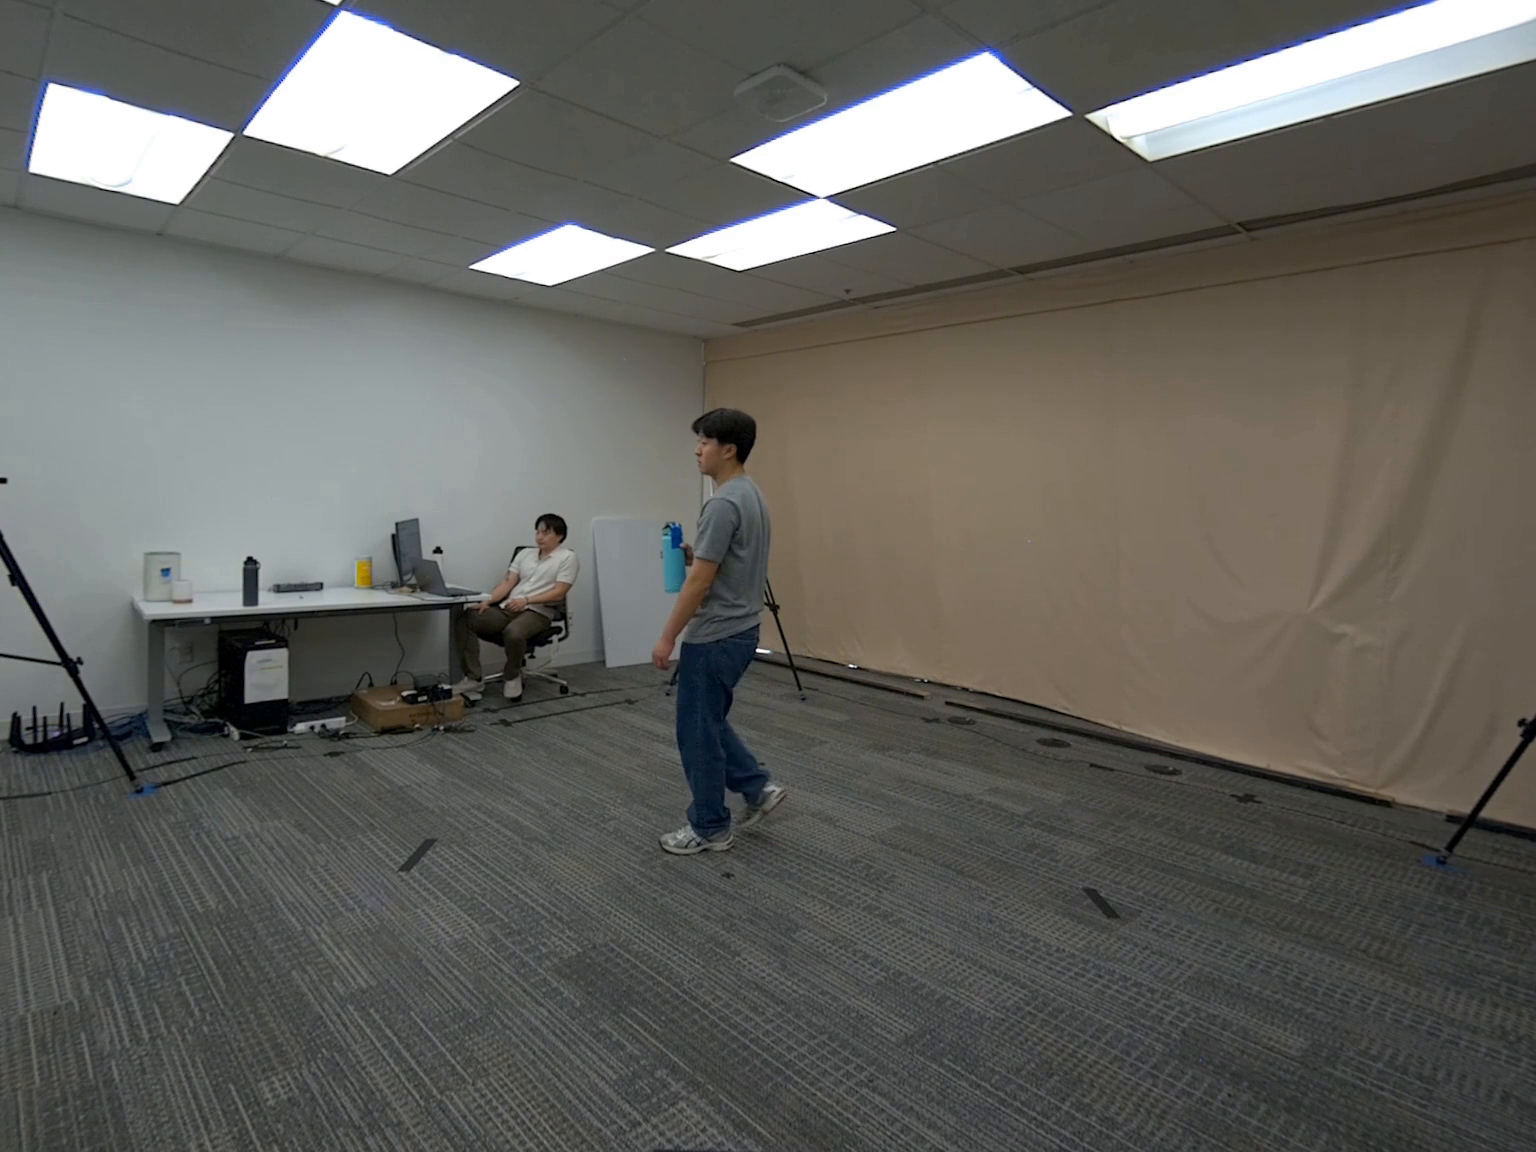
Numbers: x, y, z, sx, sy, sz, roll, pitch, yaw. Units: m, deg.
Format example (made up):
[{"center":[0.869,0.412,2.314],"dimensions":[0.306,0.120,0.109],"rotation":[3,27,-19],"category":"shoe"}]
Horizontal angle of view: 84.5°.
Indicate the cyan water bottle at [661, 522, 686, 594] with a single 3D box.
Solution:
[{"center":[-0.378,-0.073,3.358],"dimensions":[0.092,0.282,0.093],"rotation":[-4,5,-1],"category":"cyan water bottle"}]
